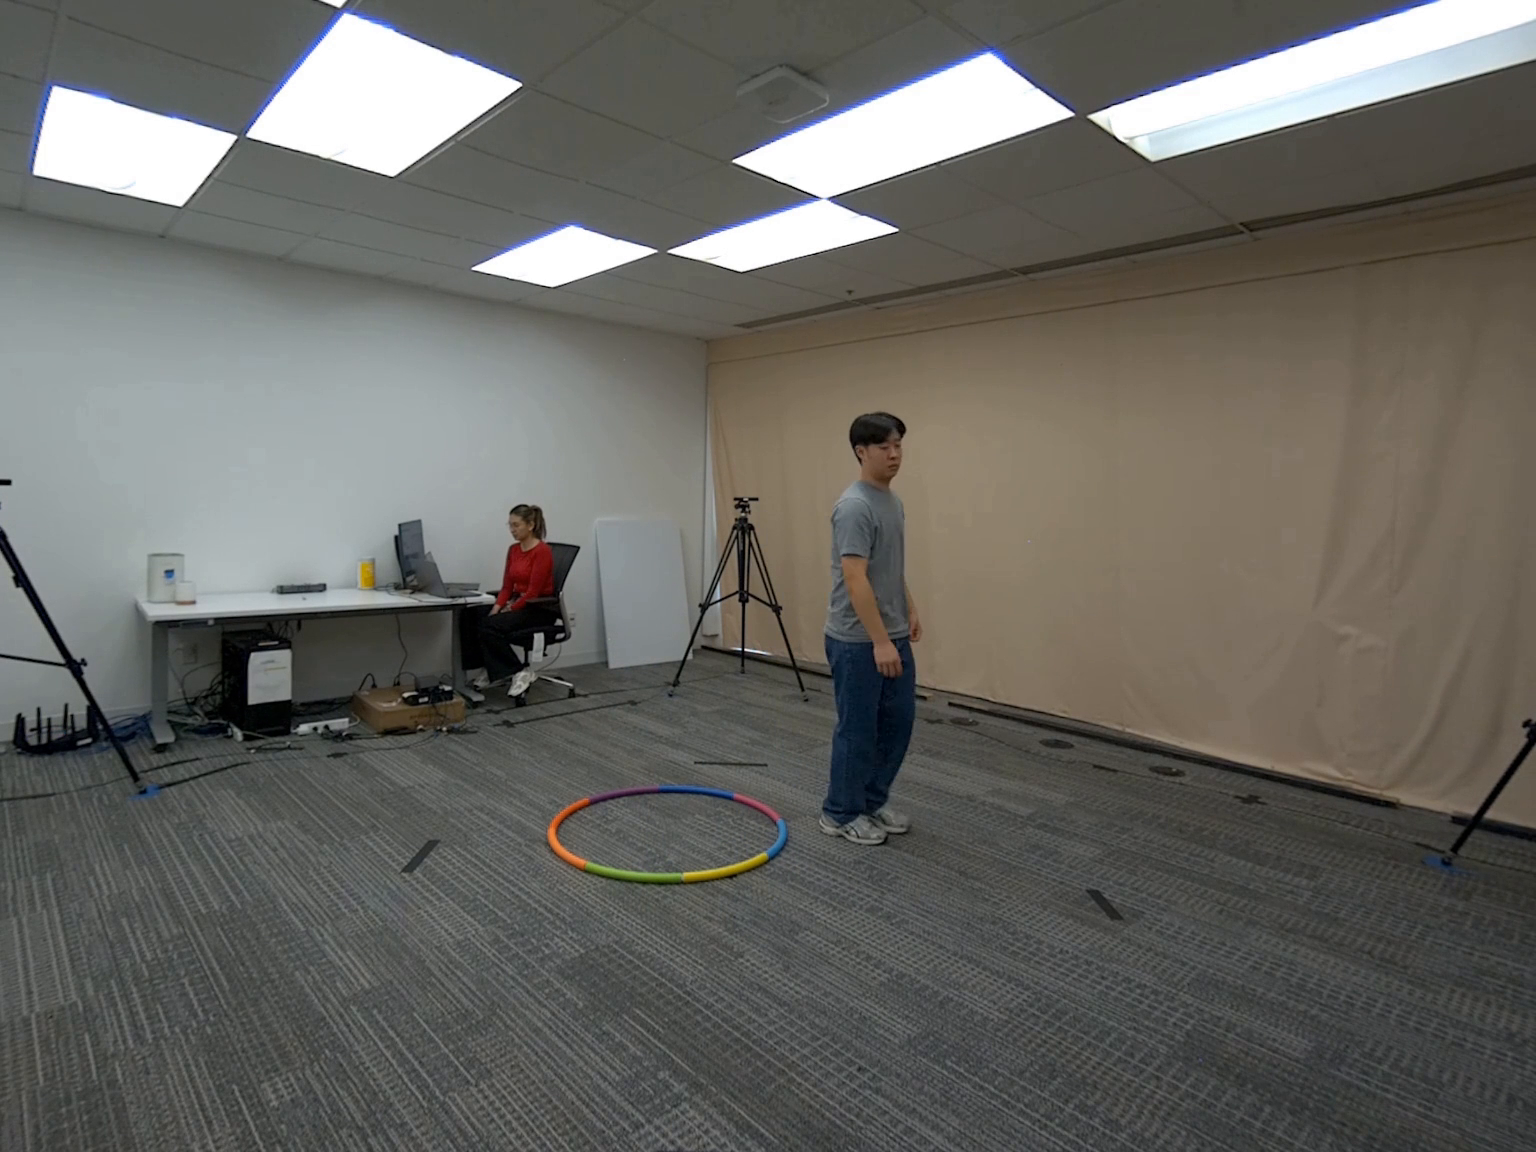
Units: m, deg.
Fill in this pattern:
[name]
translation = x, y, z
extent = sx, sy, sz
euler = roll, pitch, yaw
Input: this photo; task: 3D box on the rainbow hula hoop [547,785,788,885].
[rainbow hula hoop]
translation = -0.425, 1.036, 3.508
extent = 0.978, 0.035, 0.982
euler = 2, 5, -1
